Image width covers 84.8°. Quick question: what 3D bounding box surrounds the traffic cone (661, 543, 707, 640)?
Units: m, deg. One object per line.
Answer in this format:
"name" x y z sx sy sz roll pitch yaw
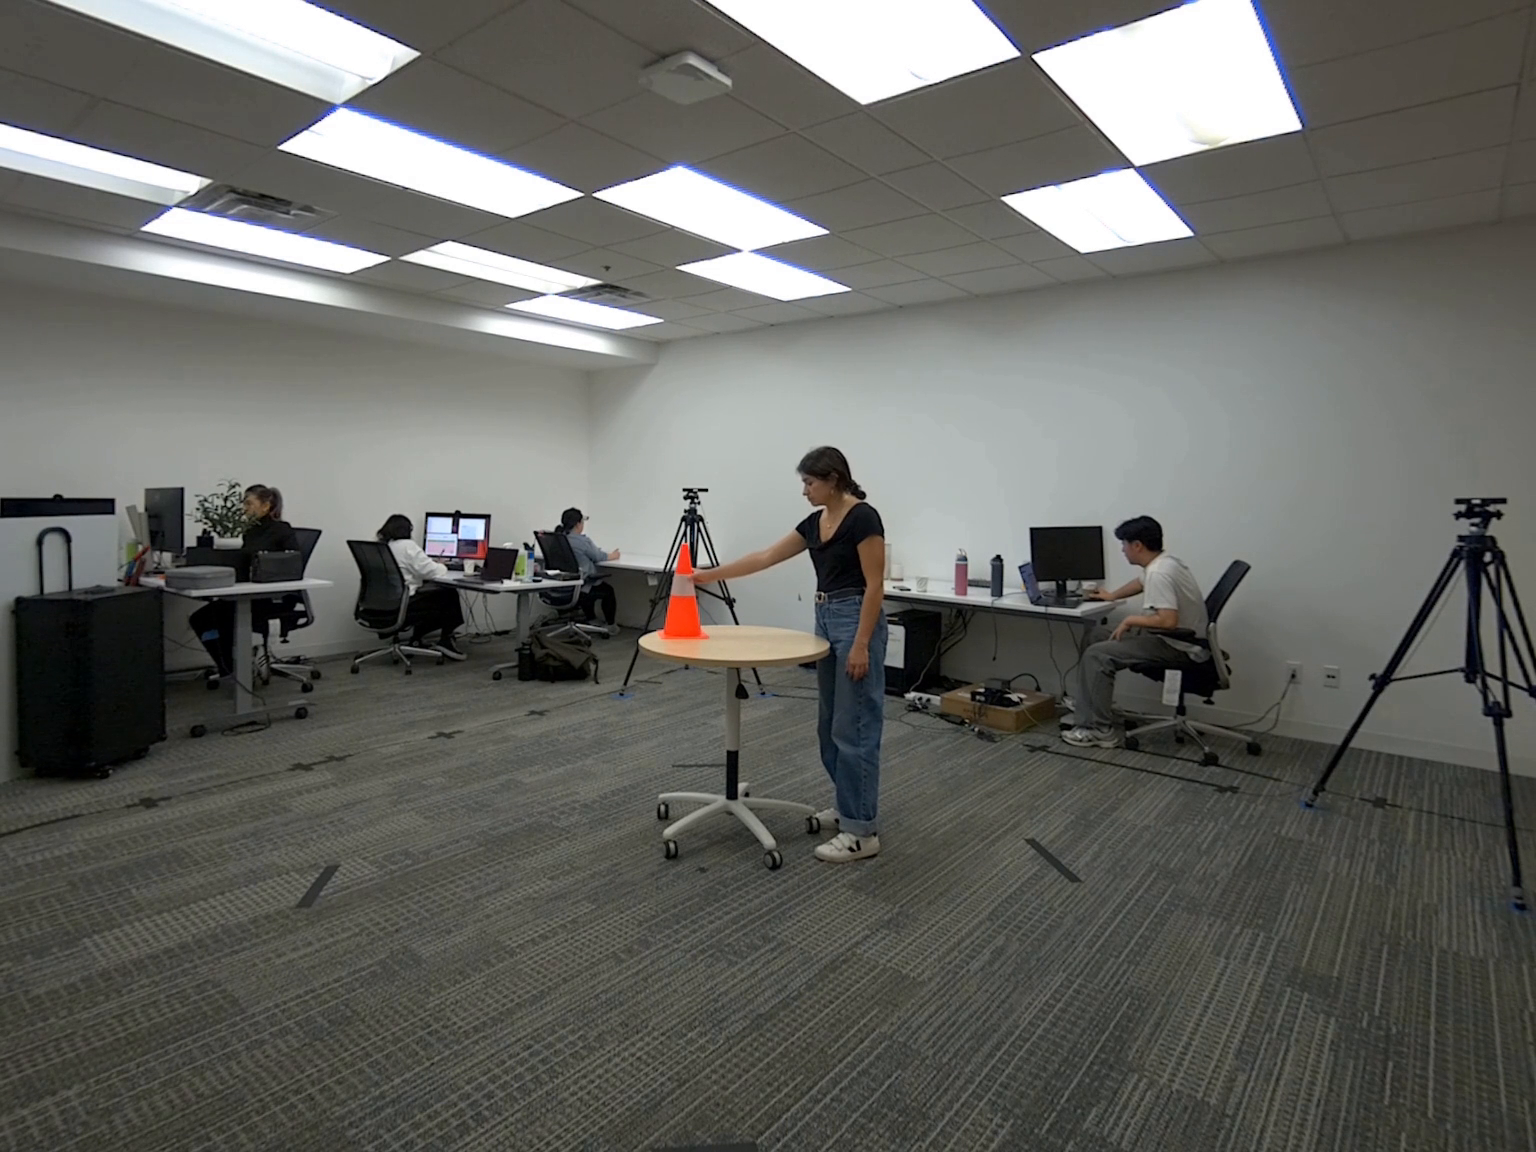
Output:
"traffic cone" -0.343 0.050 3.556 0.201 0.383 0.207 4 2 -17
